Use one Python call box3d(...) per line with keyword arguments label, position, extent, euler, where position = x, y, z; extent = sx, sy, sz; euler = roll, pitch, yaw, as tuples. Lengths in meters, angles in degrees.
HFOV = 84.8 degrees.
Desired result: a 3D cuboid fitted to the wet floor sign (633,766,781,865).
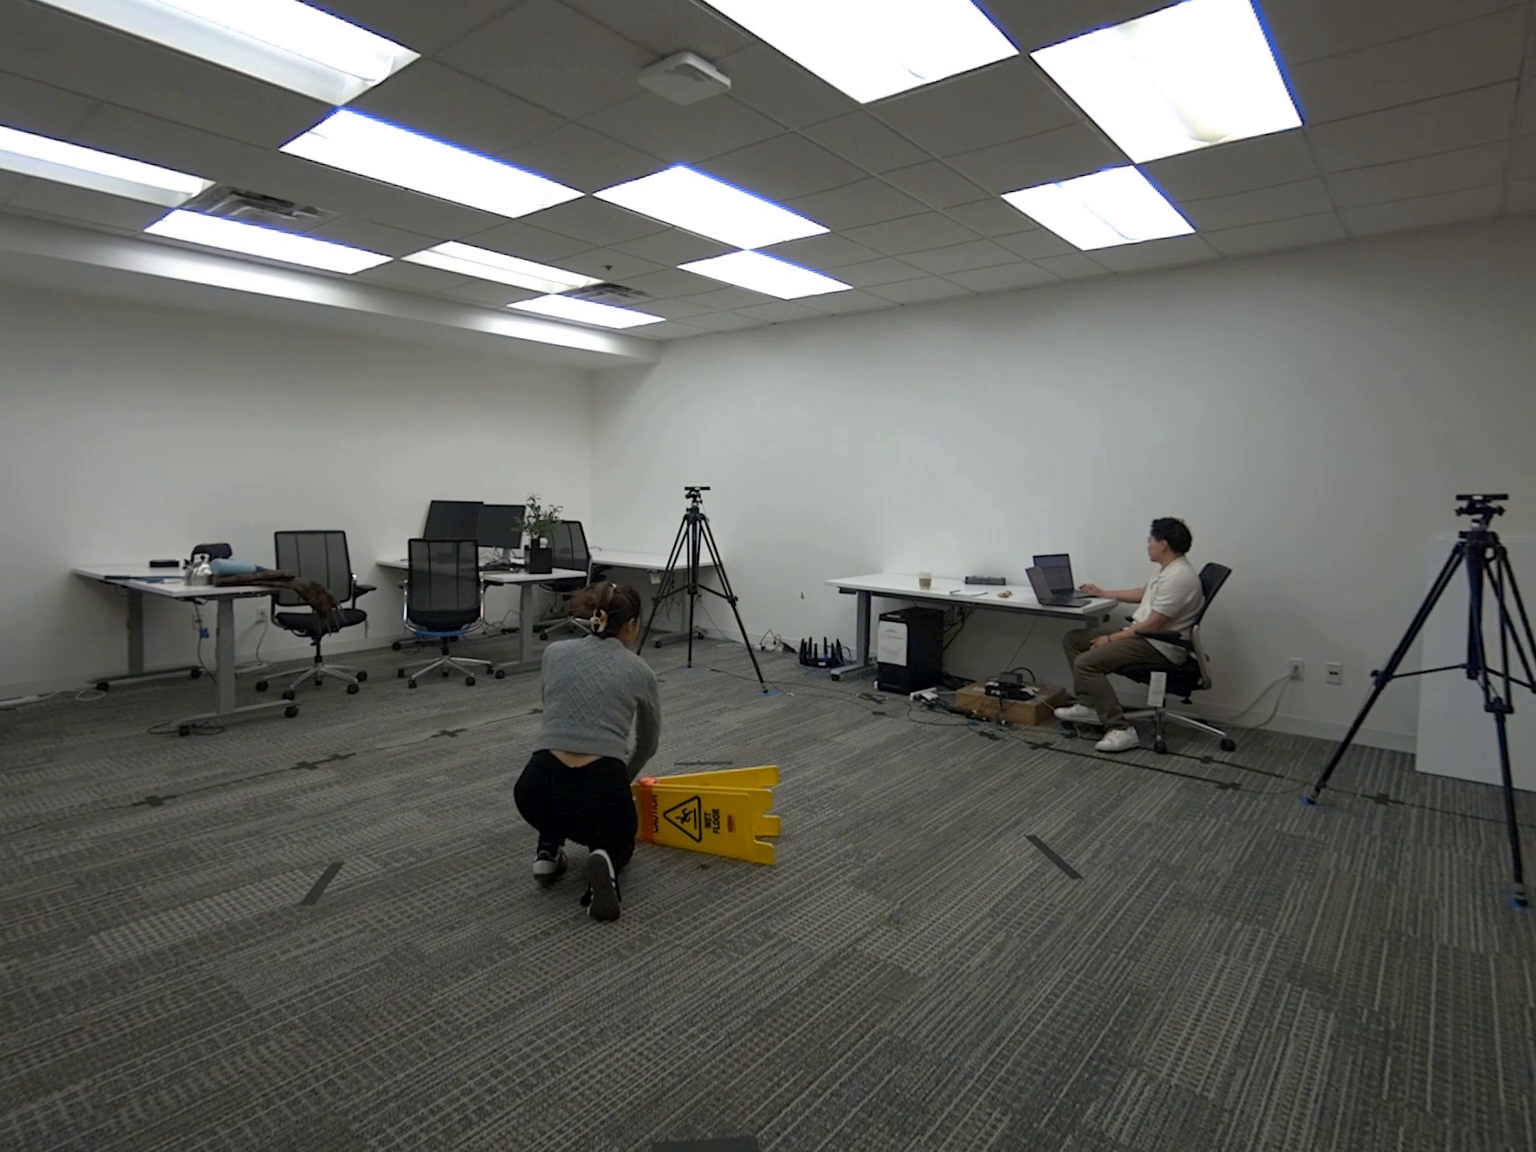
box3d(label="wet floor sign", position=(-0.293, 0.920, 3.329), extent=(0.653, 0.281, 0.287), euler=(-1, 3, 10))
